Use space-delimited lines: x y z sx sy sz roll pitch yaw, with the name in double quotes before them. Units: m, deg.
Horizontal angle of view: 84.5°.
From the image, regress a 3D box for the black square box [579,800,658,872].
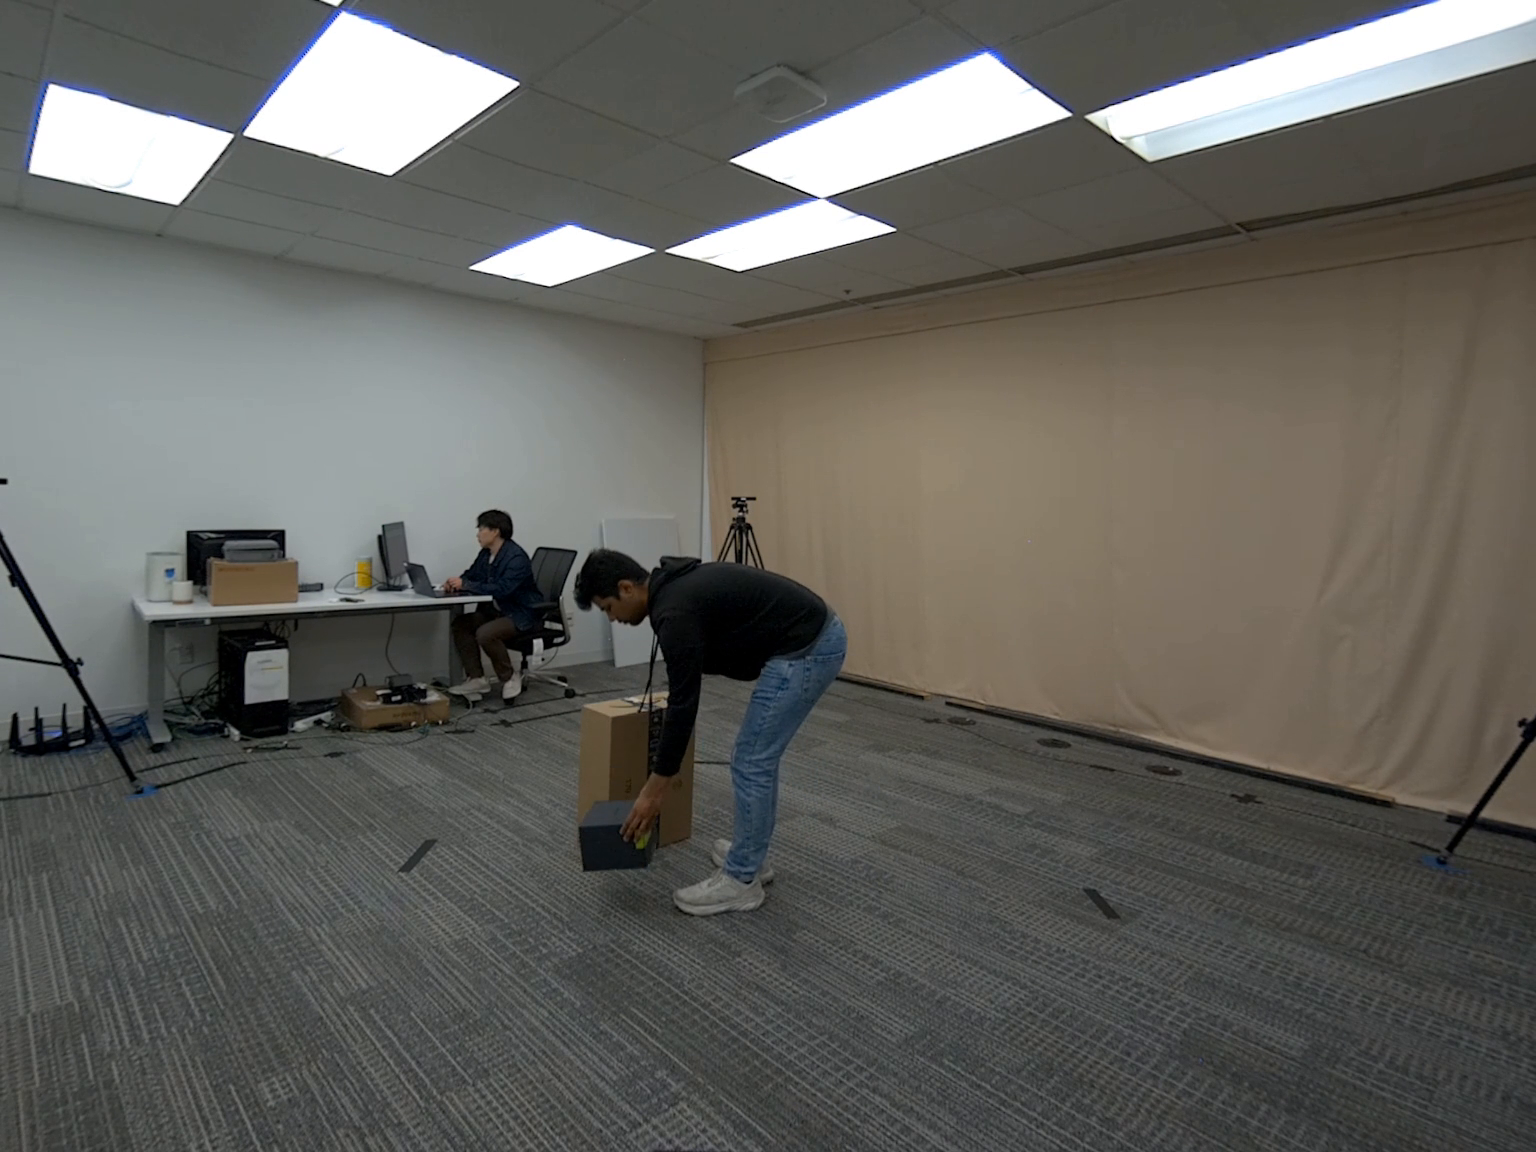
"black square box" -0.522 0.862 2.863 0.217 0.155 0.228 -4 3 2
